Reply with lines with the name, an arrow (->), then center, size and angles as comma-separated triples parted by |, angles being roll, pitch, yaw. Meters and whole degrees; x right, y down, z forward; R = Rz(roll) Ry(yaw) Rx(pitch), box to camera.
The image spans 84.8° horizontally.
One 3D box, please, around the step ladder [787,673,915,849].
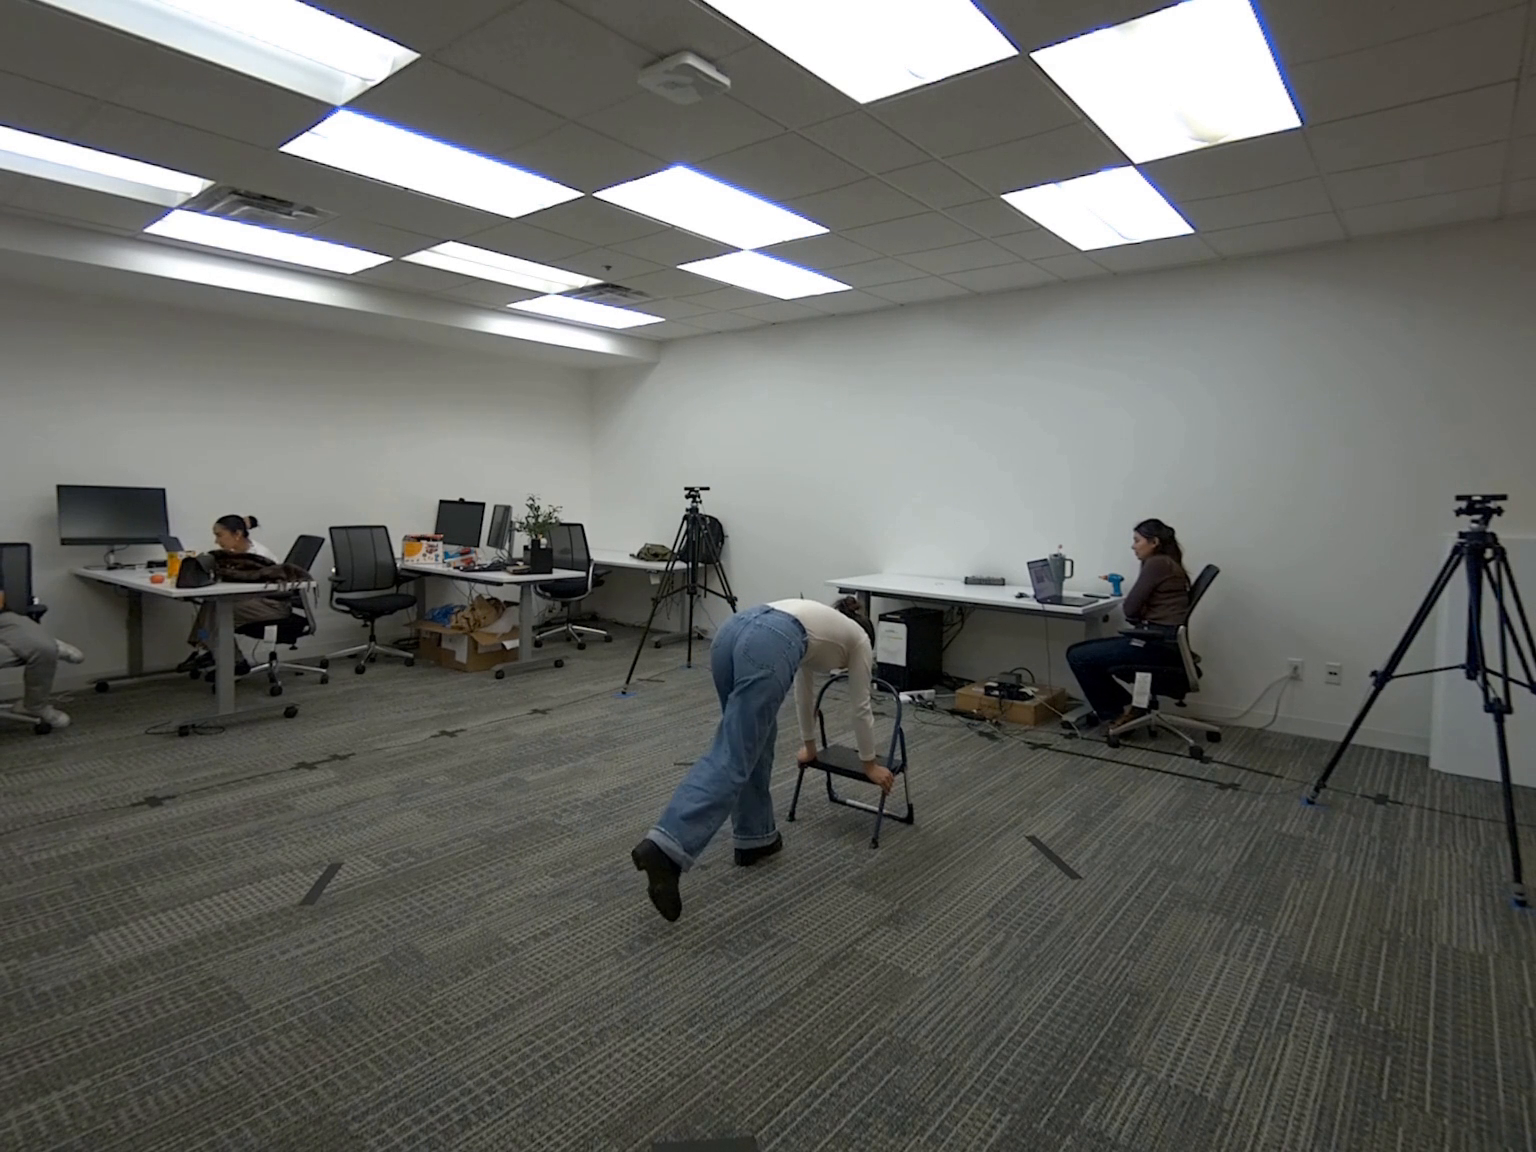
step ladder -> 0.351, 0.728, 3.562 | 0.445, 0.604, 0.339 | 4, 4, 38
